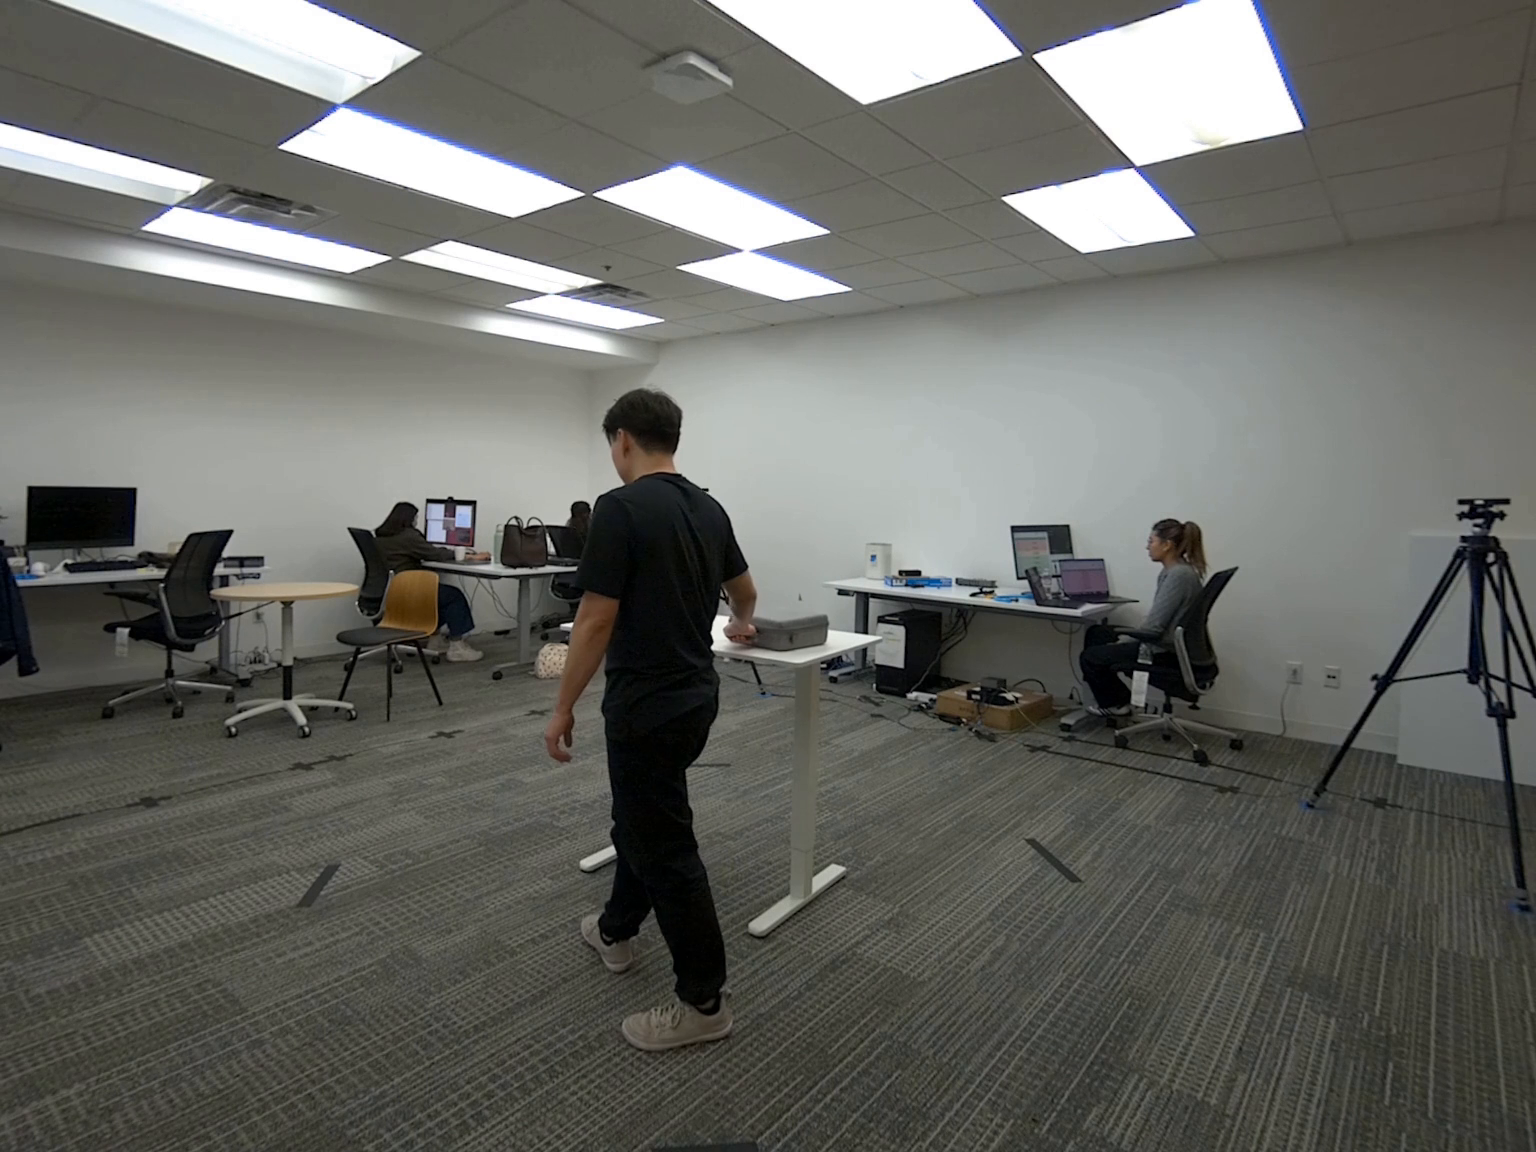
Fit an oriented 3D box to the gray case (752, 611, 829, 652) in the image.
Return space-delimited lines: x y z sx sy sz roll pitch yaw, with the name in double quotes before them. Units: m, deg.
"gray case" 0.029 0.169 2.837 0.266 0.104 0.253 7 9 44
